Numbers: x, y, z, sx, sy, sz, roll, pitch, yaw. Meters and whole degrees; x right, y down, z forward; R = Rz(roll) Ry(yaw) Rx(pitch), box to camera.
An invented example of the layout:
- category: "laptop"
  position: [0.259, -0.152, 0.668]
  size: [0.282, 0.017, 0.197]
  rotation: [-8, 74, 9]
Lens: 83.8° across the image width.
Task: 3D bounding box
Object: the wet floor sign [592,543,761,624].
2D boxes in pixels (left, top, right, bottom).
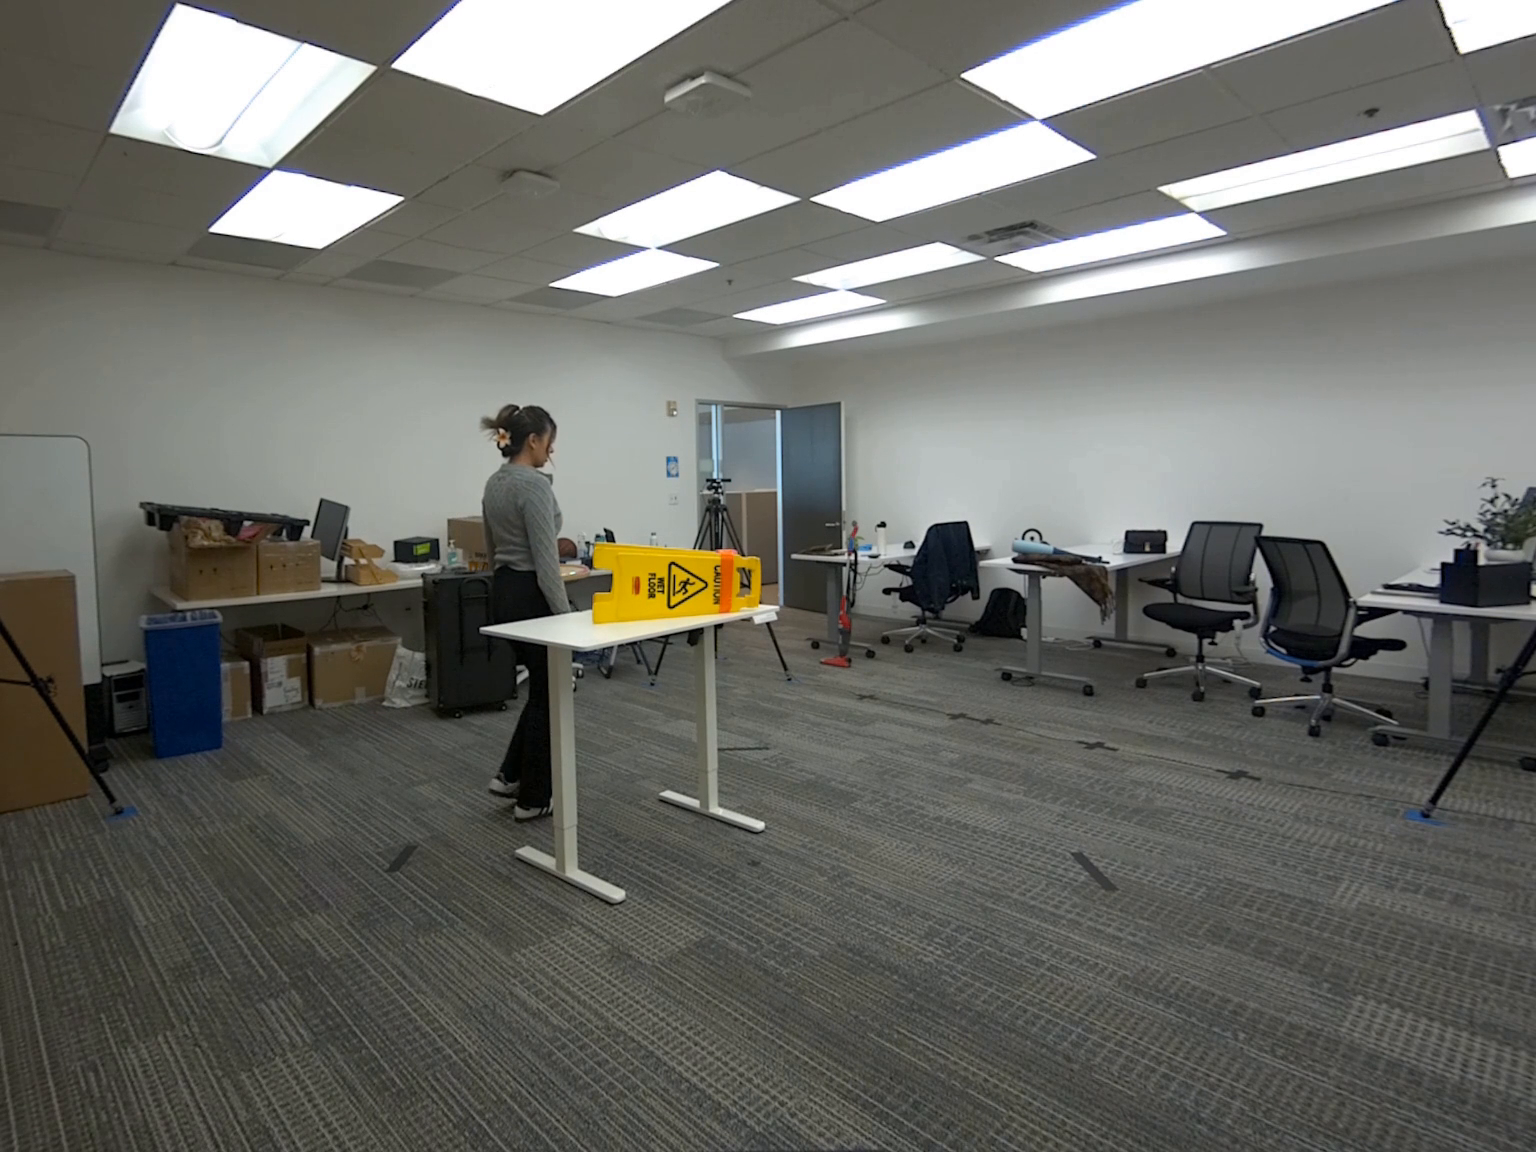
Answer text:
- category: "wet floor sign"
  position: [-0.352, 0.024, 3.295]
  size: [0.641, 0.281, 0.293]
  rotation: [0, 5, -9]
